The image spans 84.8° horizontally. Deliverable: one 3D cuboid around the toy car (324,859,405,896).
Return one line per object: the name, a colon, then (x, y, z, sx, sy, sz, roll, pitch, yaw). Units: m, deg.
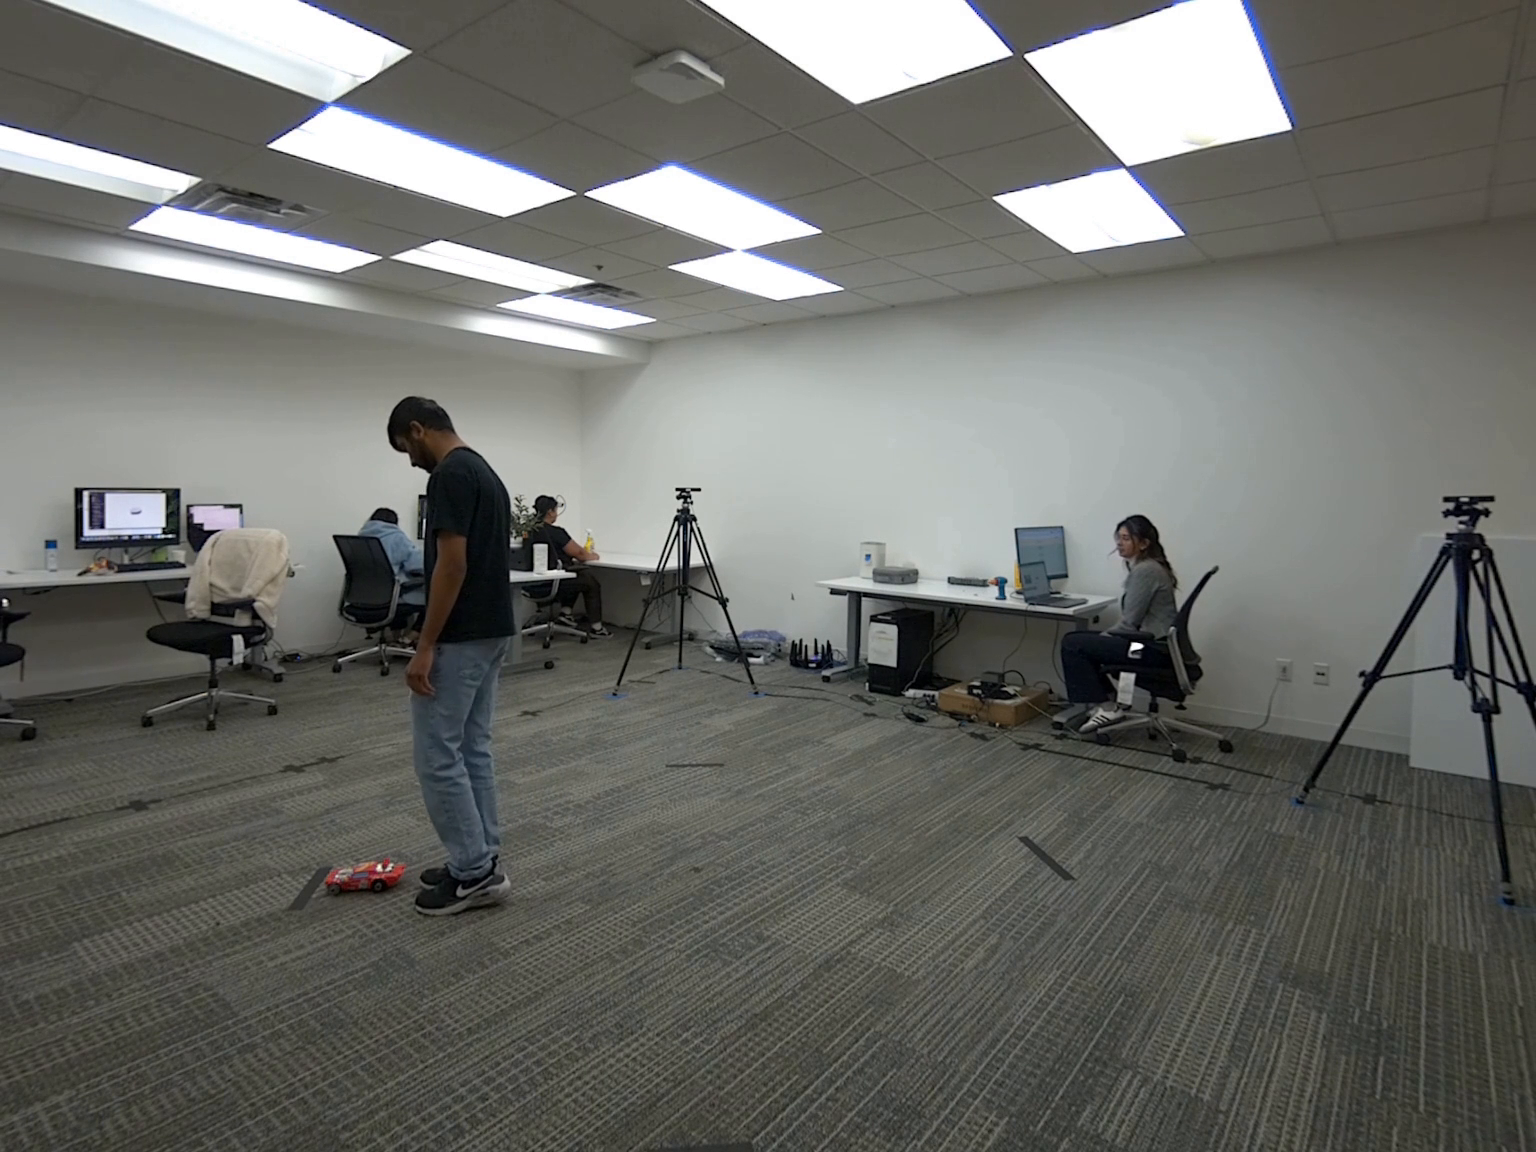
toy car: (-1.397, 1.040, 2.938, 0.253, 0.083, 0.132, -11, 6, -6)
